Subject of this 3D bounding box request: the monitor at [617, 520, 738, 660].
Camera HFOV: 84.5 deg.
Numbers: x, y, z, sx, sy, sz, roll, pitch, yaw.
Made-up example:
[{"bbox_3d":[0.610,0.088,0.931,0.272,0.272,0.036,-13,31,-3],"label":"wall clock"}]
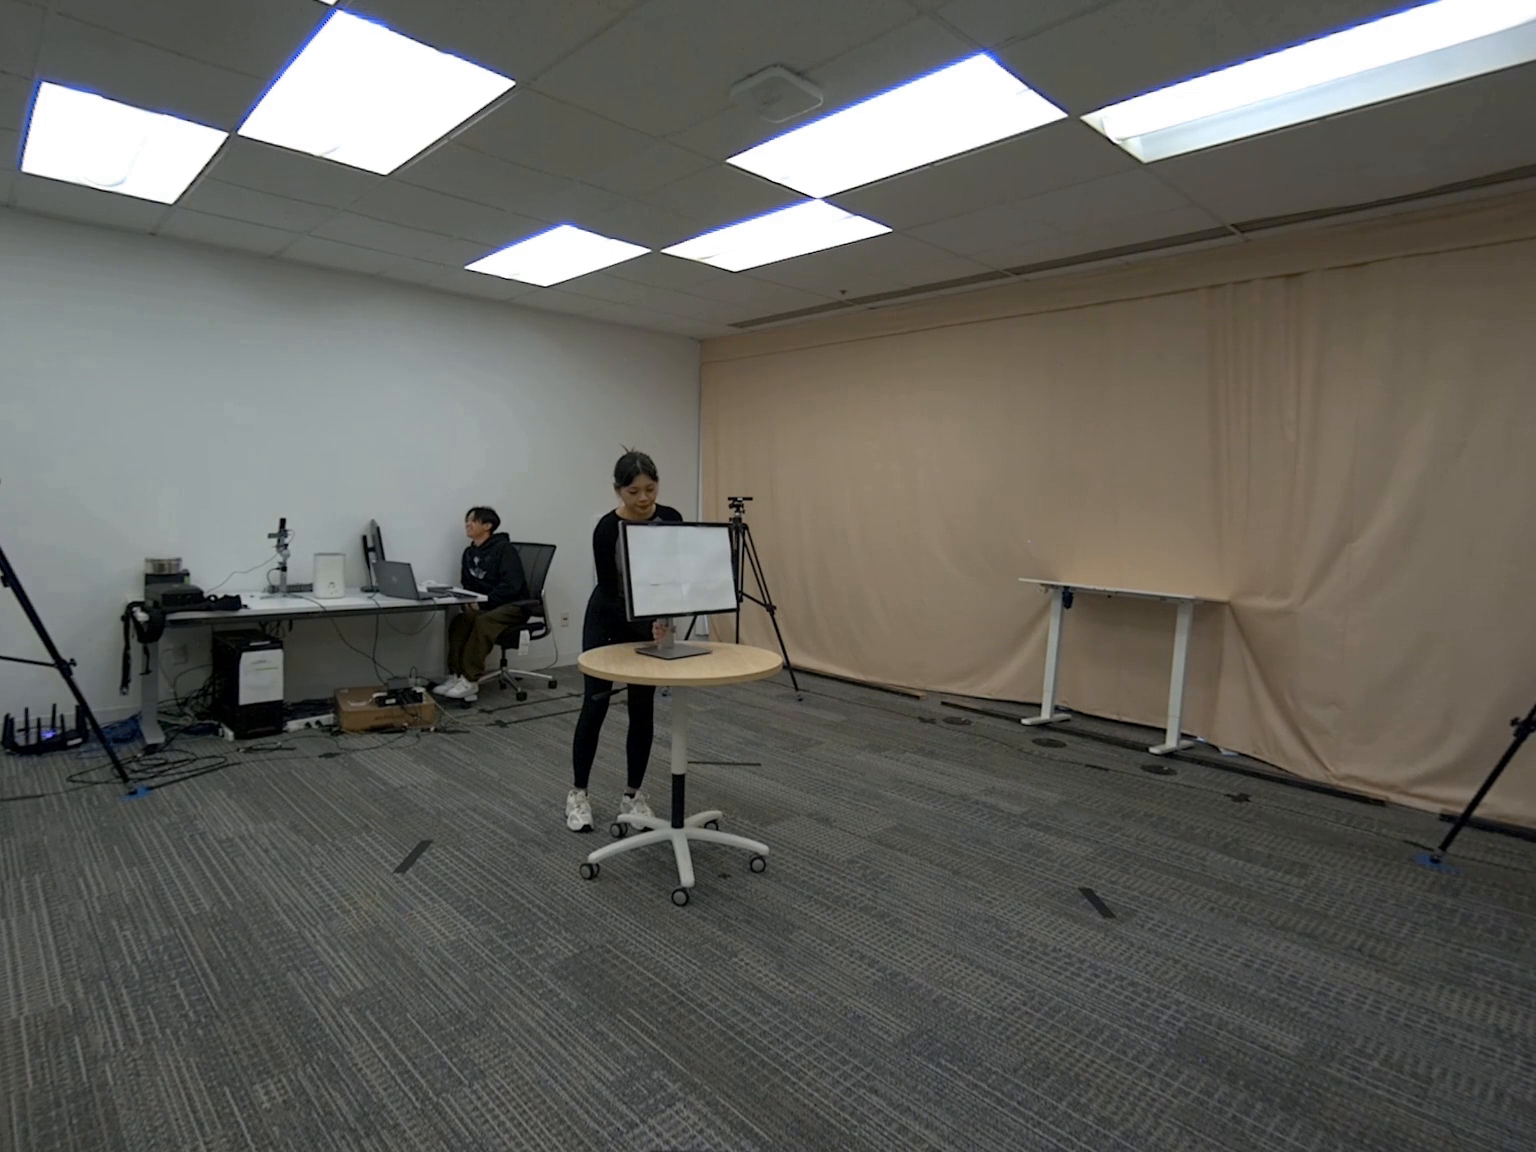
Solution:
[{"bbox_3d":[-0.368,0.051,3.248,0.192,0.521,0.527,7,6,41],"label":"monitor"}]
